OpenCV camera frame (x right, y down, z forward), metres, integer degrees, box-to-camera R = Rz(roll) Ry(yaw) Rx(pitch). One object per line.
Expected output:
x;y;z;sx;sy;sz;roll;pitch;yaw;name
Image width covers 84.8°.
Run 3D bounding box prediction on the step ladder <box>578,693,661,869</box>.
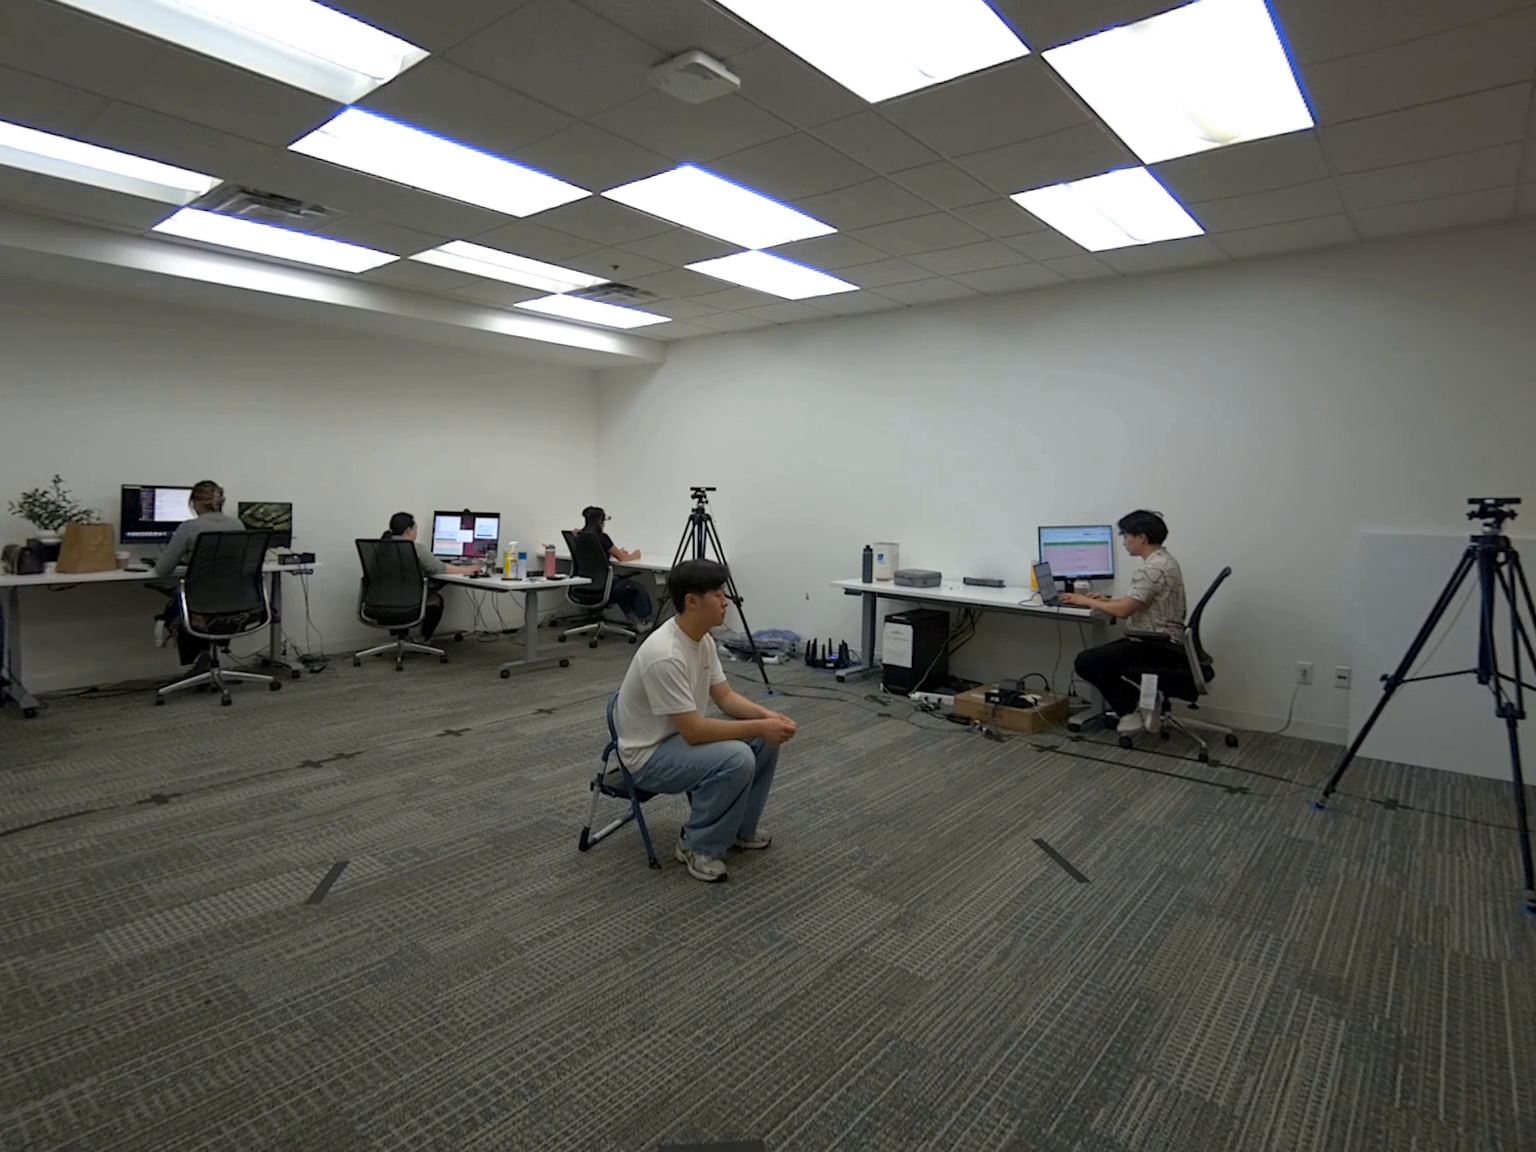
-0.502;0.738;3.347;0.358;0.605;0.421;2;3;22;step ladder
